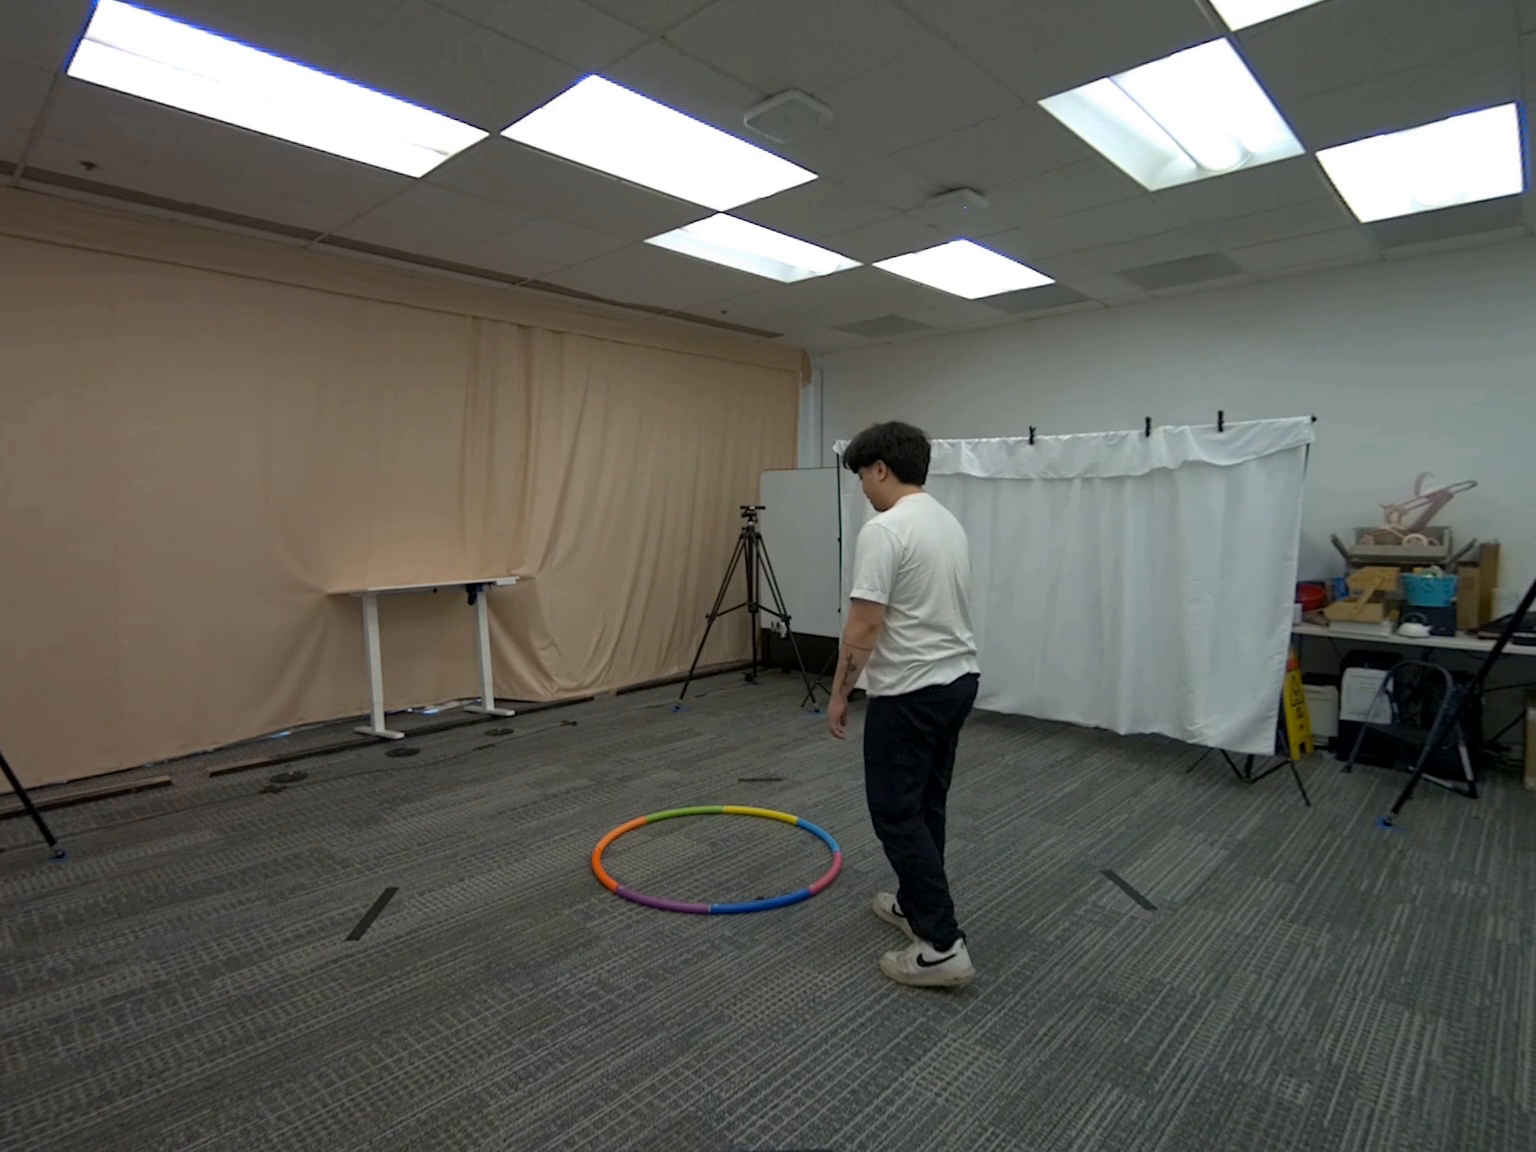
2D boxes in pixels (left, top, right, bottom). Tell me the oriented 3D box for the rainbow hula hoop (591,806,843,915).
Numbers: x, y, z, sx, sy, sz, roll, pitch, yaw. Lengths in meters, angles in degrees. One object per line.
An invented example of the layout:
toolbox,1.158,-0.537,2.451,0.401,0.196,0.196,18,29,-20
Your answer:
rainbow hula hoop,-0.204,1.088,3.349,0.984,0.051,0.989,0,5,-2
